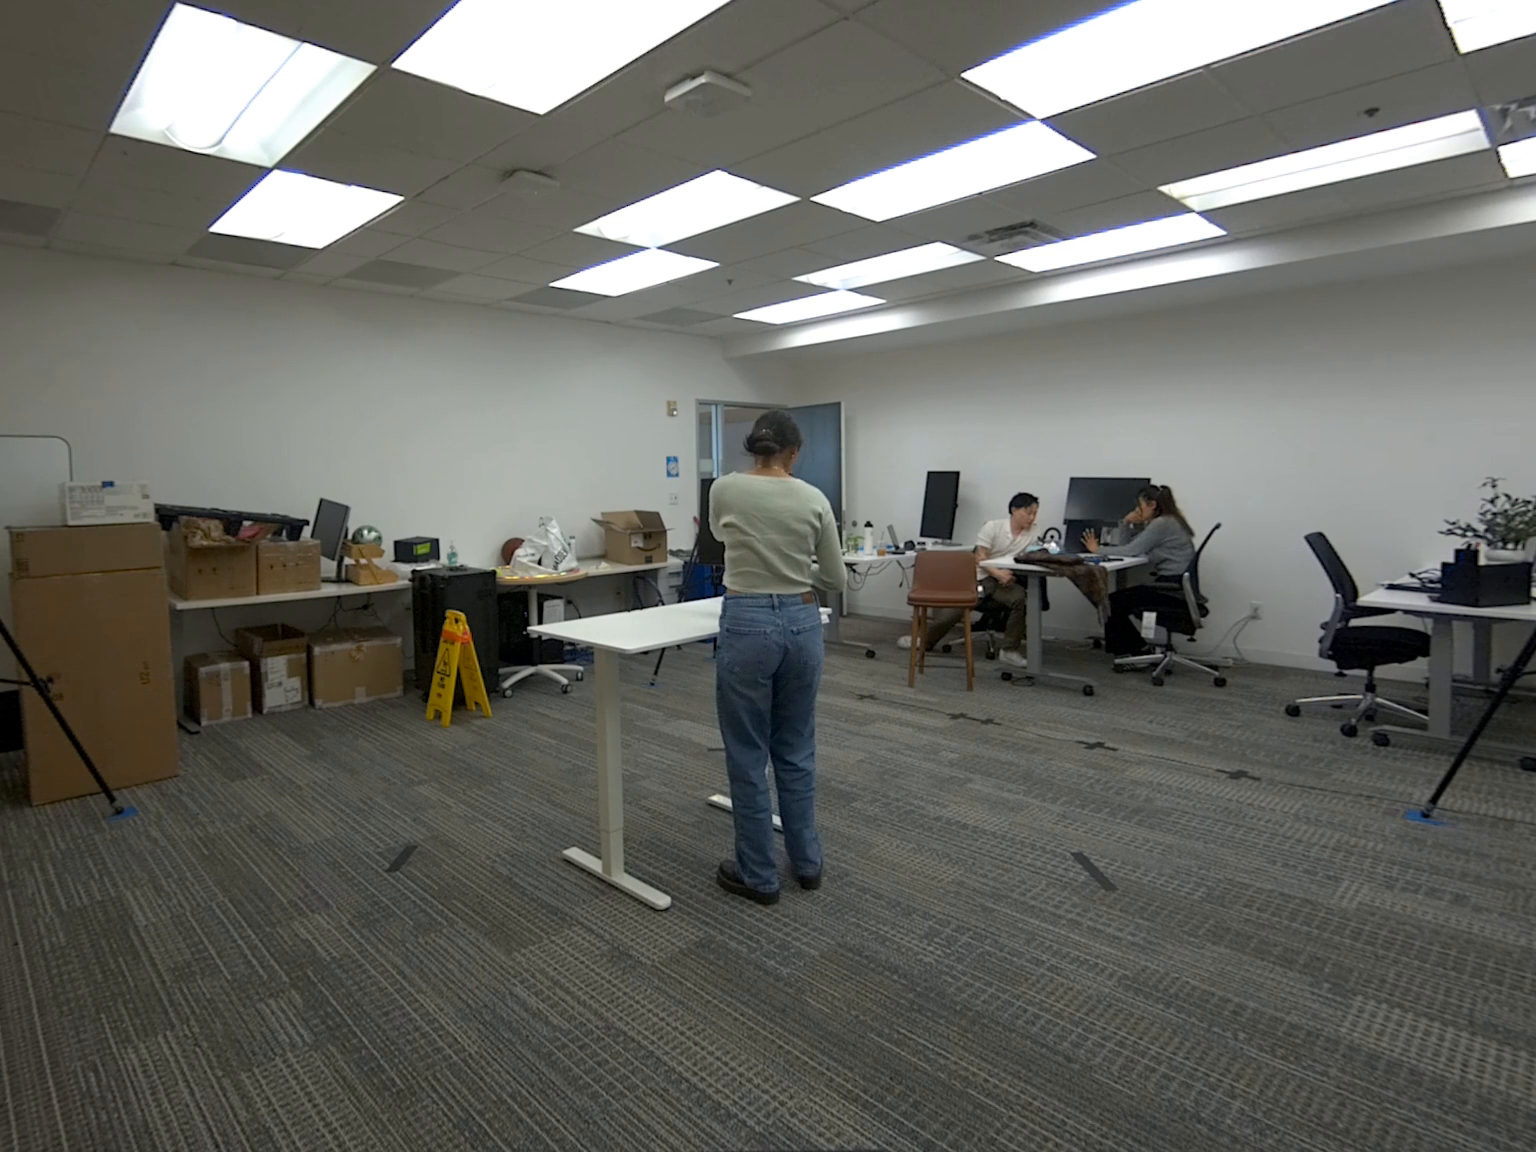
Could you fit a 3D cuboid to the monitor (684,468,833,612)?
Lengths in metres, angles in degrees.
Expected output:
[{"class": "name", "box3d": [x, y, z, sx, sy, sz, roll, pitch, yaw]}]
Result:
[{"class": "monitor", "box3d": [-0.049, -0.131, 3.340, 0.183, 0.518, 0.555, -16, 11, -40]}]
